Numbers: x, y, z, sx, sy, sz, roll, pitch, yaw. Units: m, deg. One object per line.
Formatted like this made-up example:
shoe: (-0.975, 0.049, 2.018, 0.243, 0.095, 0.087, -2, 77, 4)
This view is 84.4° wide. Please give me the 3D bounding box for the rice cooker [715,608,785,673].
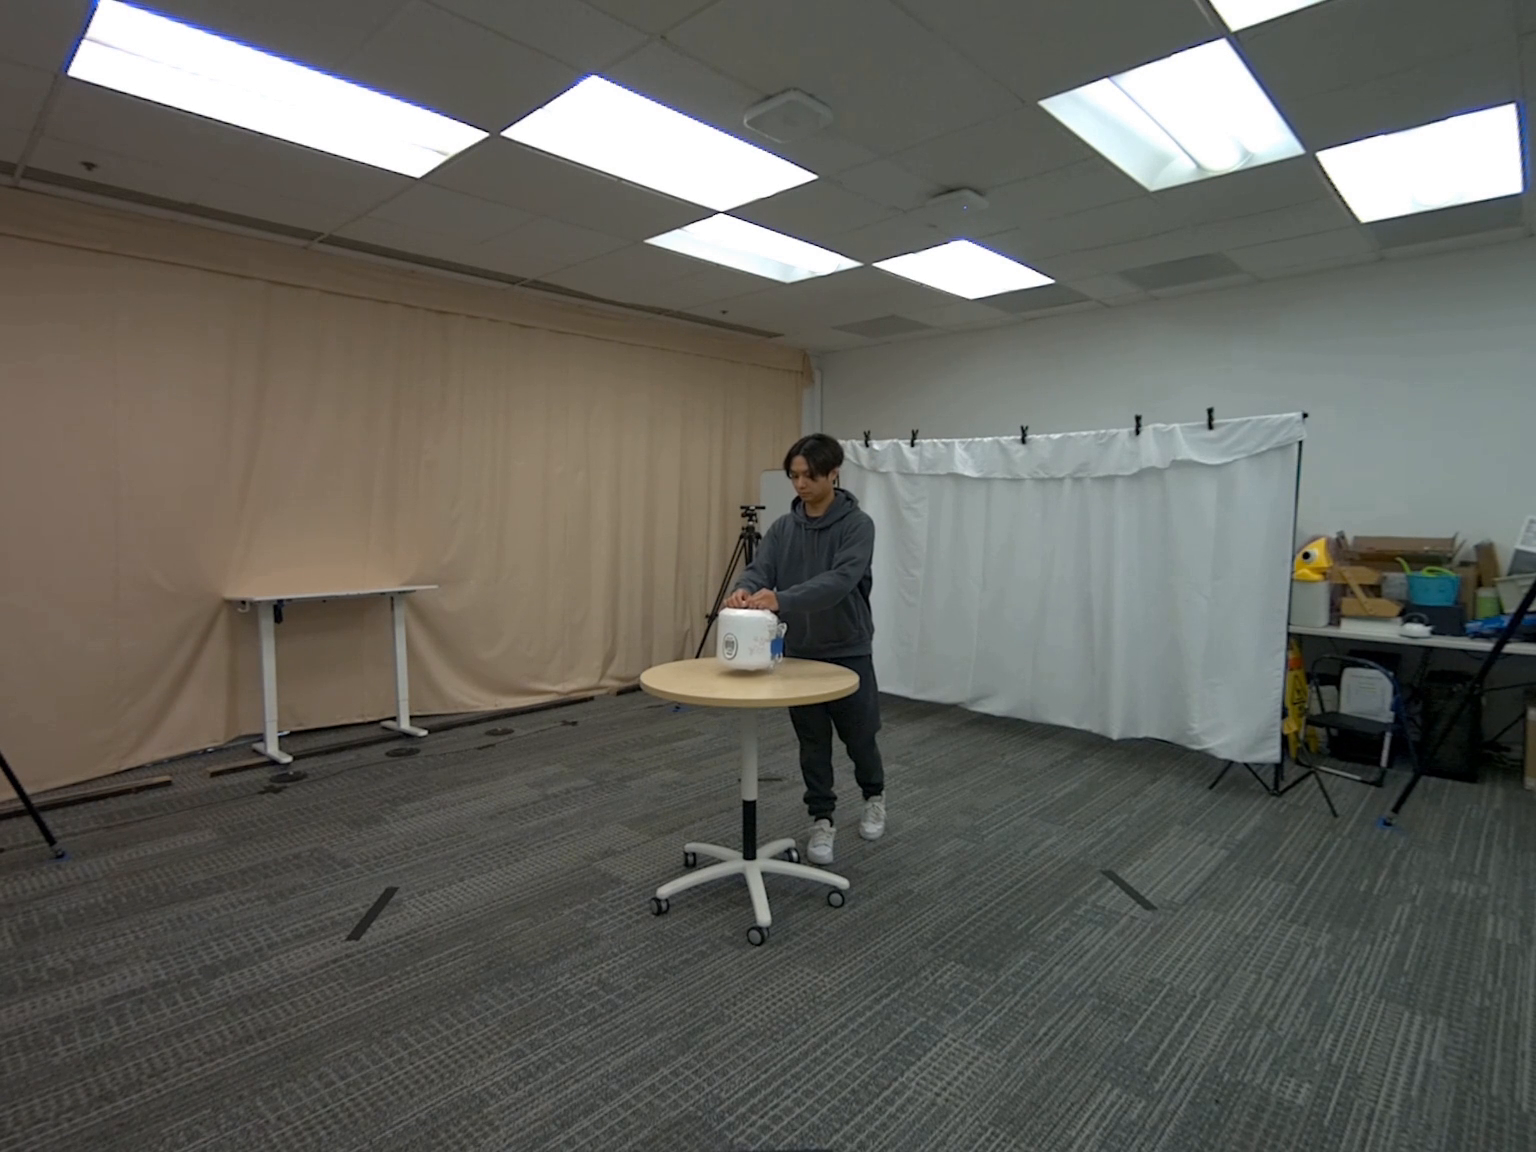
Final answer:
rice cooker: (-0.069, 0.204, 2.985, 0.227, 0.233, 0.211, 2, -2, 33)
